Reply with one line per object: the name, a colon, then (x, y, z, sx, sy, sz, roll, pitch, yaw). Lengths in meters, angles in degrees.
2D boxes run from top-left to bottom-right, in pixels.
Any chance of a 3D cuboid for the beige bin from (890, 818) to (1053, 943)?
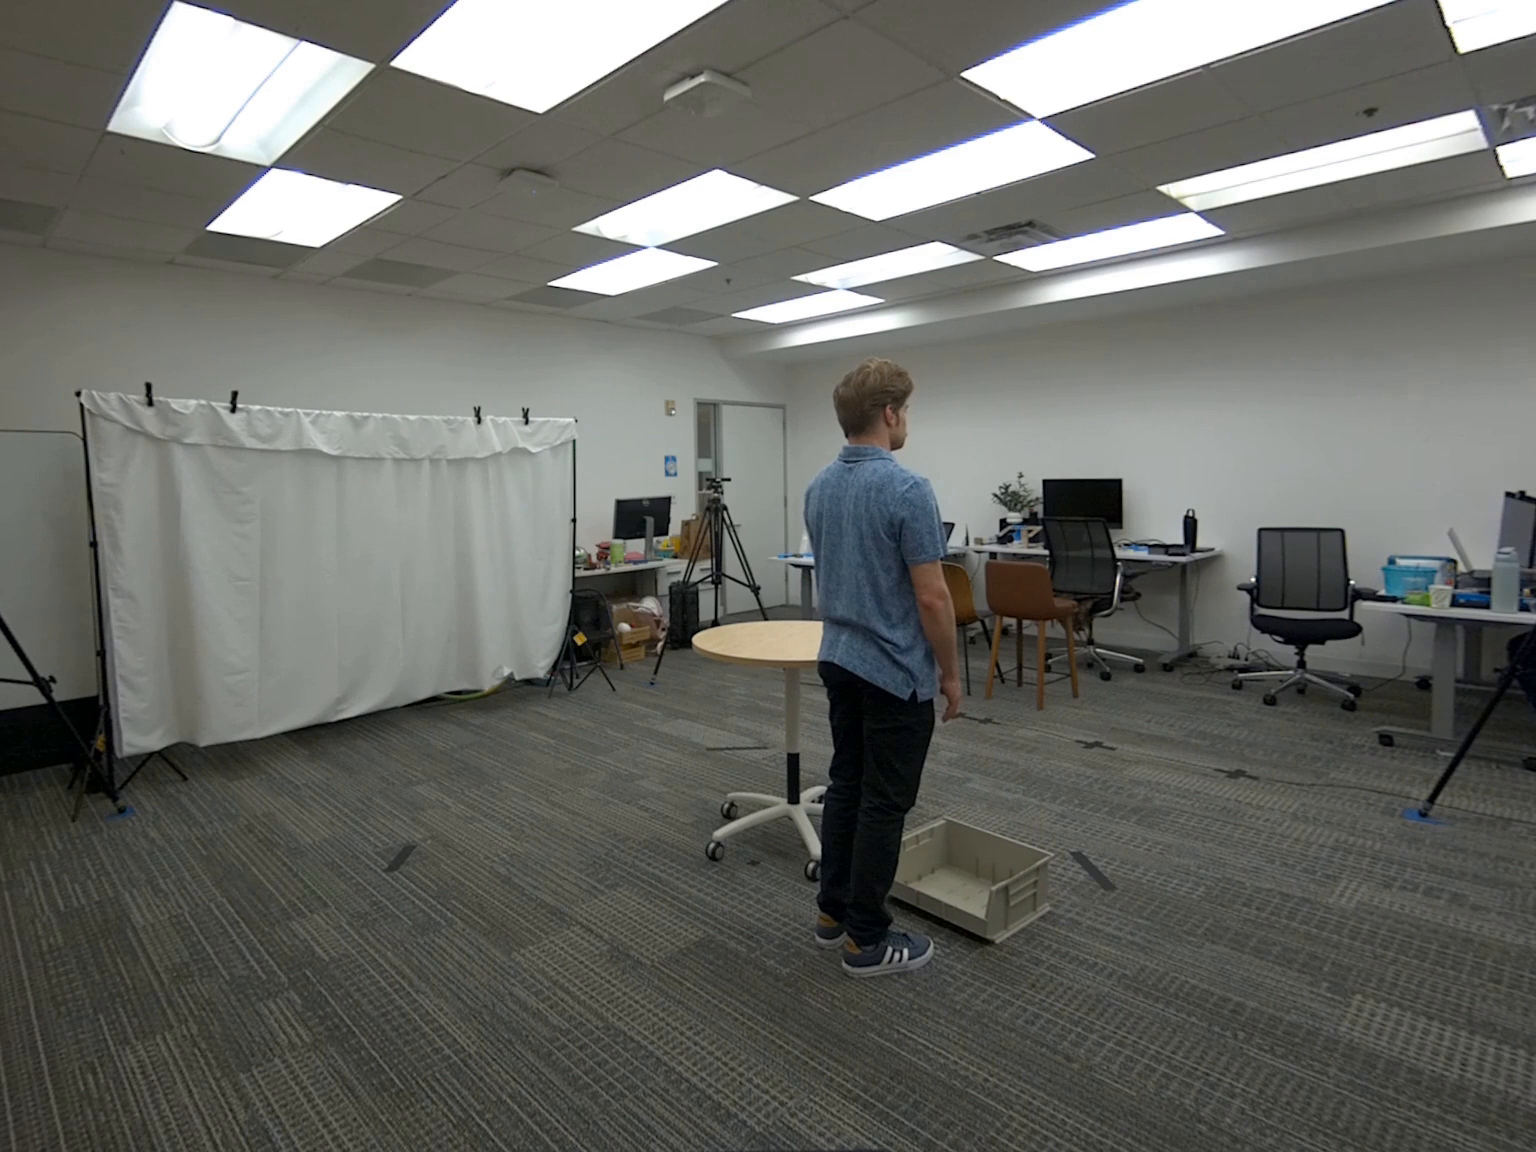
beige bin: (0.640, 0.983, 2.773, 0.367, 0.188, 0.435, -5, 7, -41)
